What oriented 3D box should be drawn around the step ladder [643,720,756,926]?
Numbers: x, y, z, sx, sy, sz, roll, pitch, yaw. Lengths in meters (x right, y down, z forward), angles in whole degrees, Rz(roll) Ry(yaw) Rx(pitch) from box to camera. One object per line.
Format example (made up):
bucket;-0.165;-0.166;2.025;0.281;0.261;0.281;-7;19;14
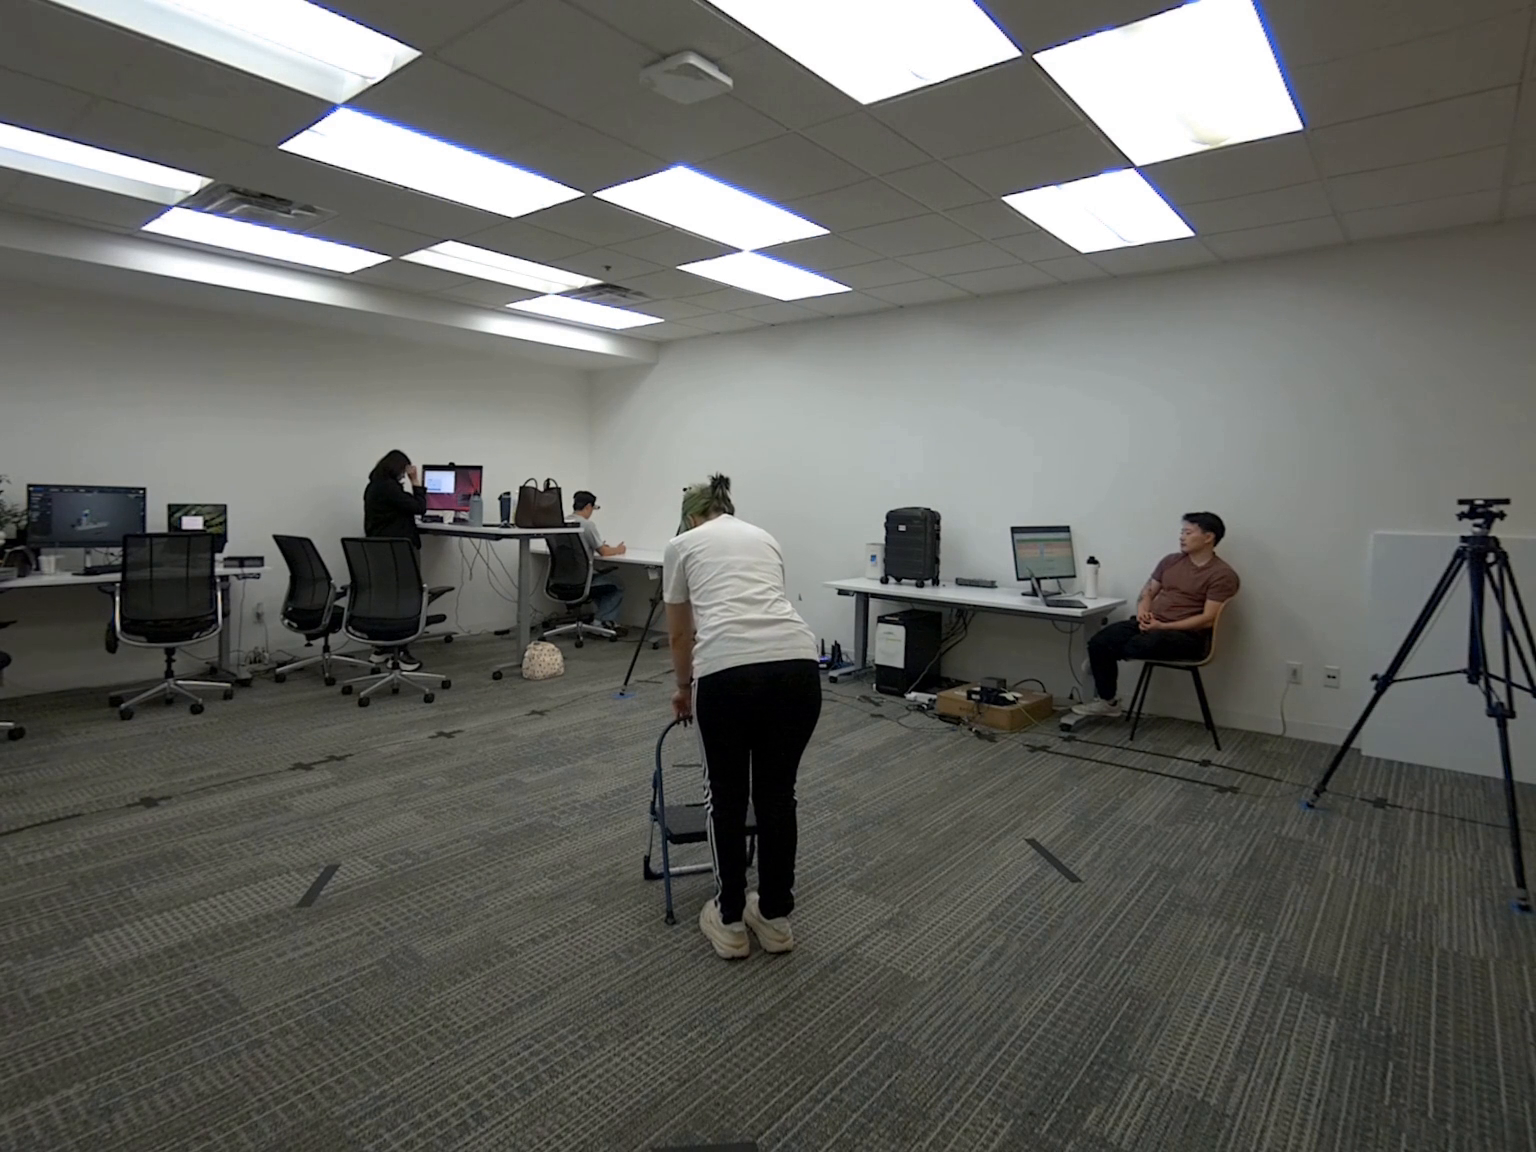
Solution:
step ladder;-0.194;0.787;2.919;0.422;0.604;0.358;0;4;-21
